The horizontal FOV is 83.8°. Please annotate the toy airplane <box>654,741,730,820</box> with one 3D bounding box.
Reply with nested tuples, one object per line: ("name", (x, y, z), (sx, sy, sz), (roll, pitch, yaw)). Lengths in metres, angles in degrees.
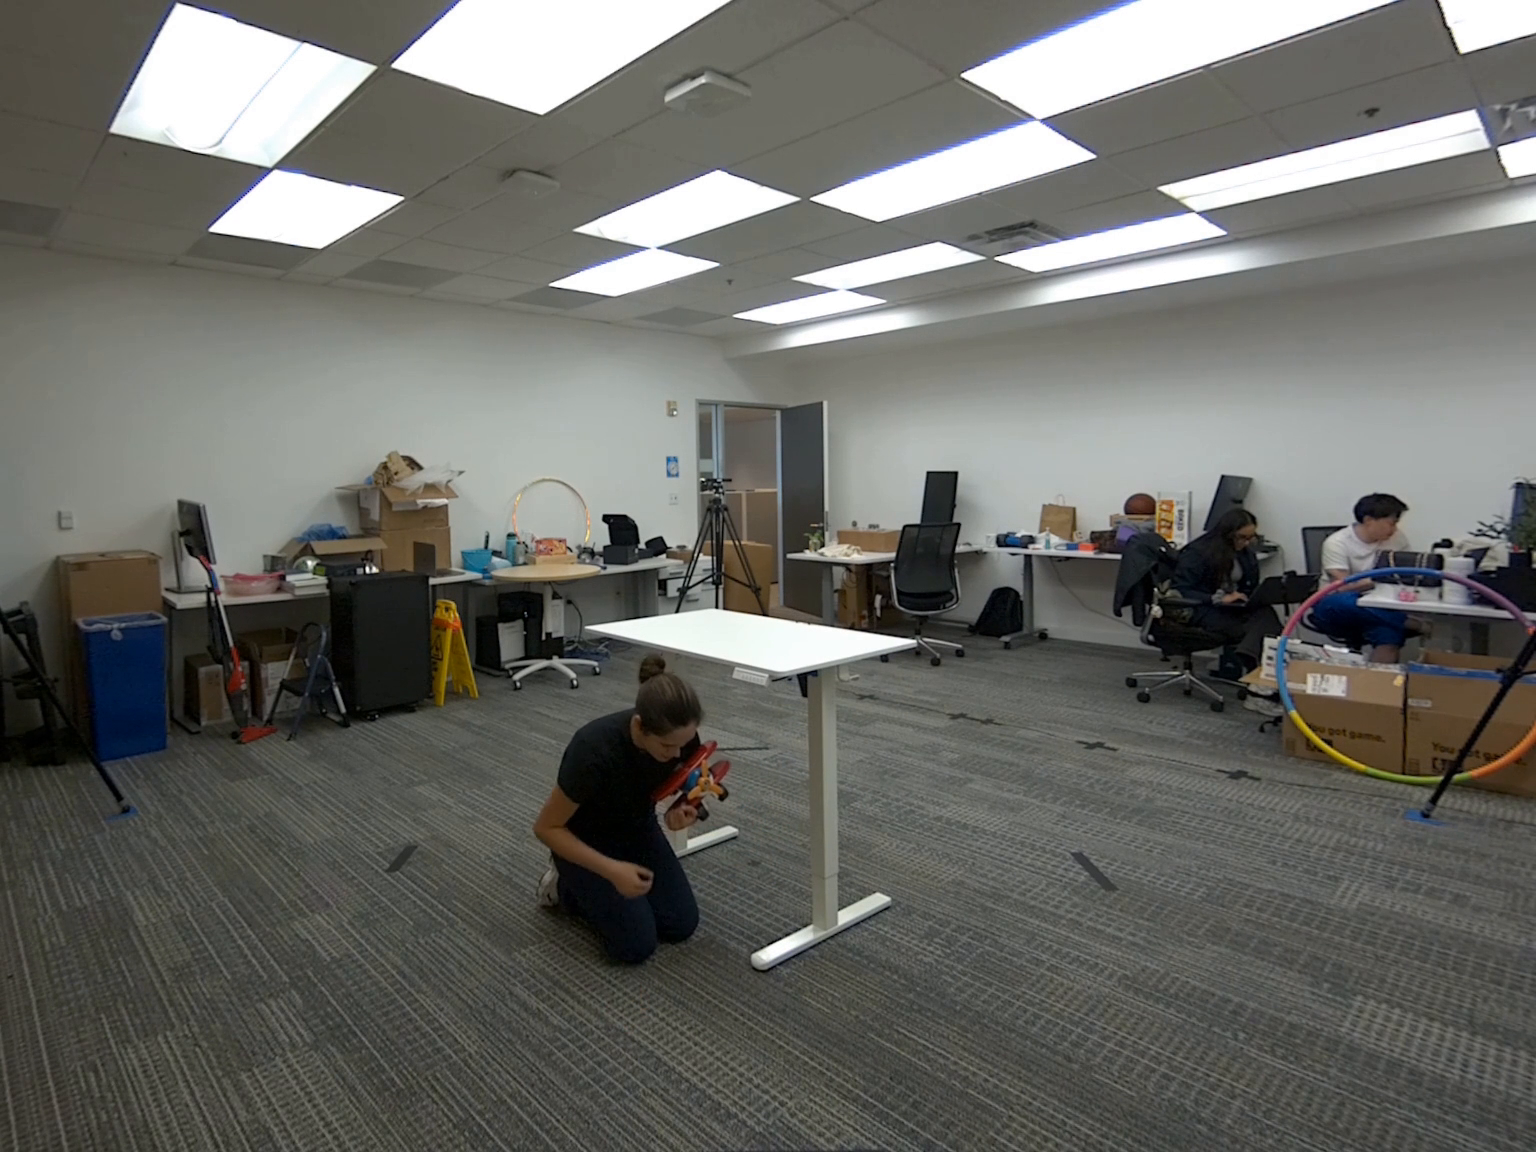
("toy airplane", (-0.252, 0.625, 2.577), (0.264, 0.152, 0.253), (-11, 30, 26))
